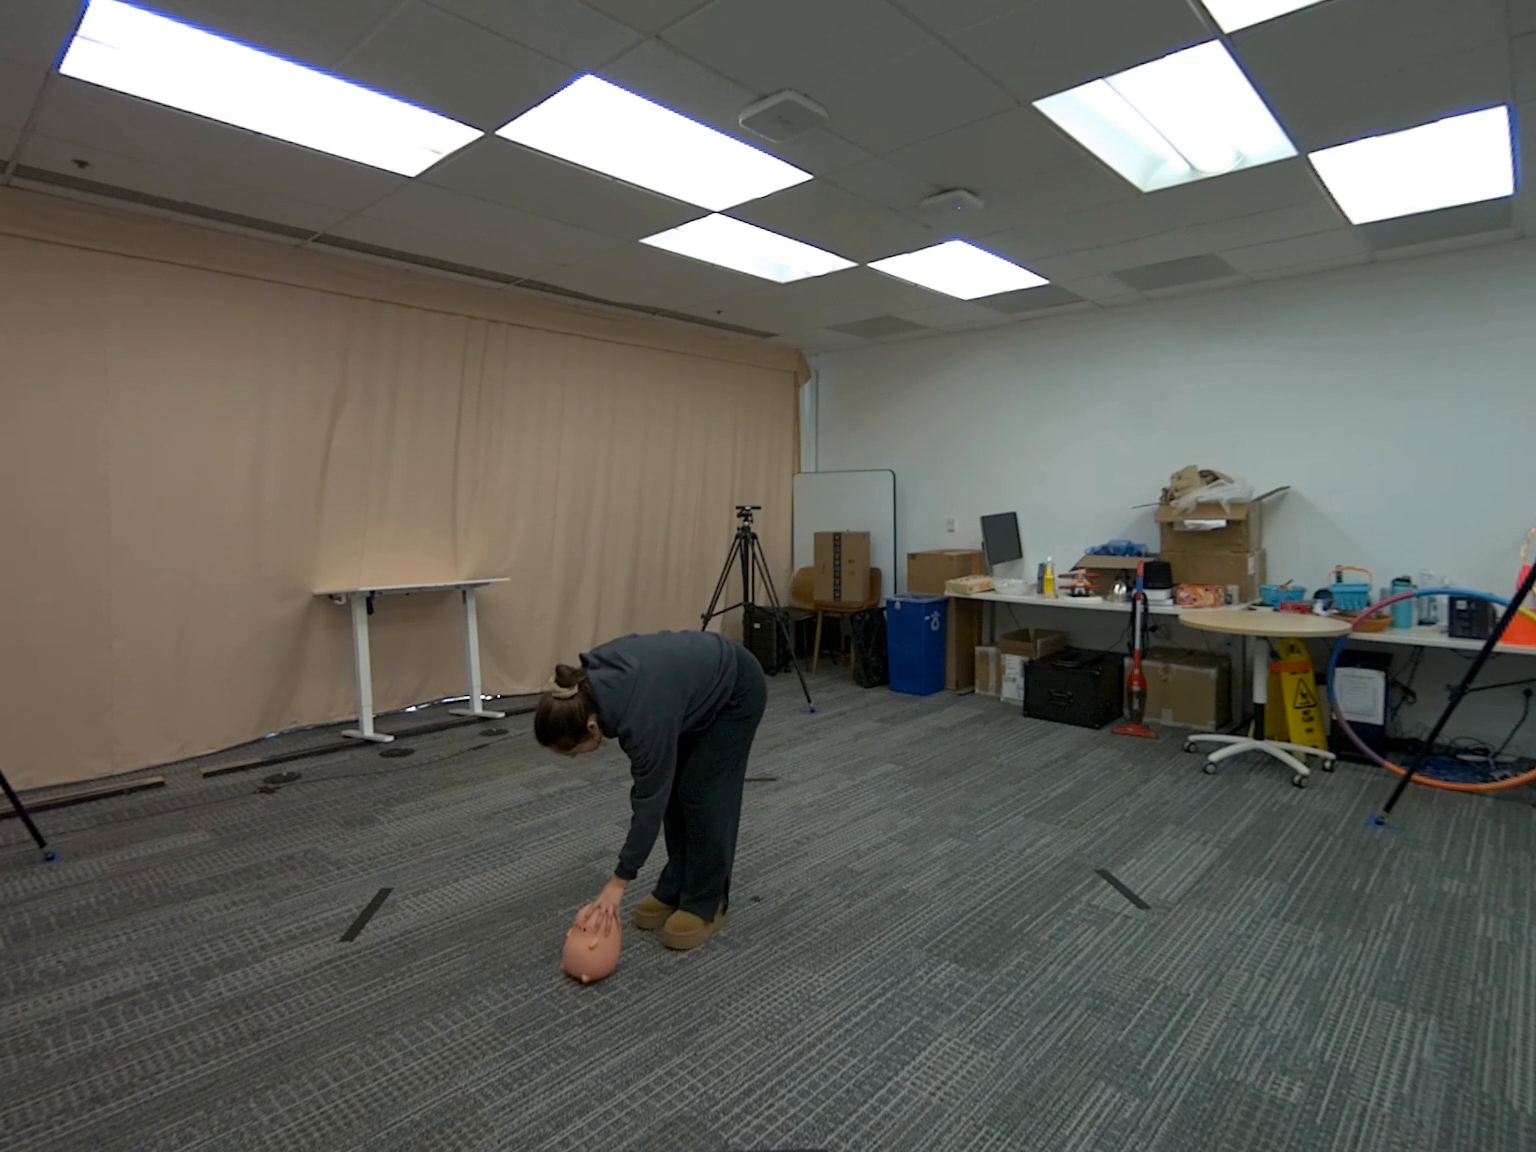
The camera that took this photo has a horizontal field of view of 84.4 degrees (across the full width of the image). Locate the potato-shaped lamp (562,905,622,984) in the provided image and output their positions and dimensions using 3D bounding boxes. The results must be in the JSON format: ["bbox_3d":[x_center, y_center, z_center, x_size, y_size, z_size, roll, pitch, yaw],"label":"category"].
[{"bbox_3d":[-0.502,1.094,2.515,0.170,0.199,0.165,0,-11,41],"label":"potato-shaped lamp"}]
